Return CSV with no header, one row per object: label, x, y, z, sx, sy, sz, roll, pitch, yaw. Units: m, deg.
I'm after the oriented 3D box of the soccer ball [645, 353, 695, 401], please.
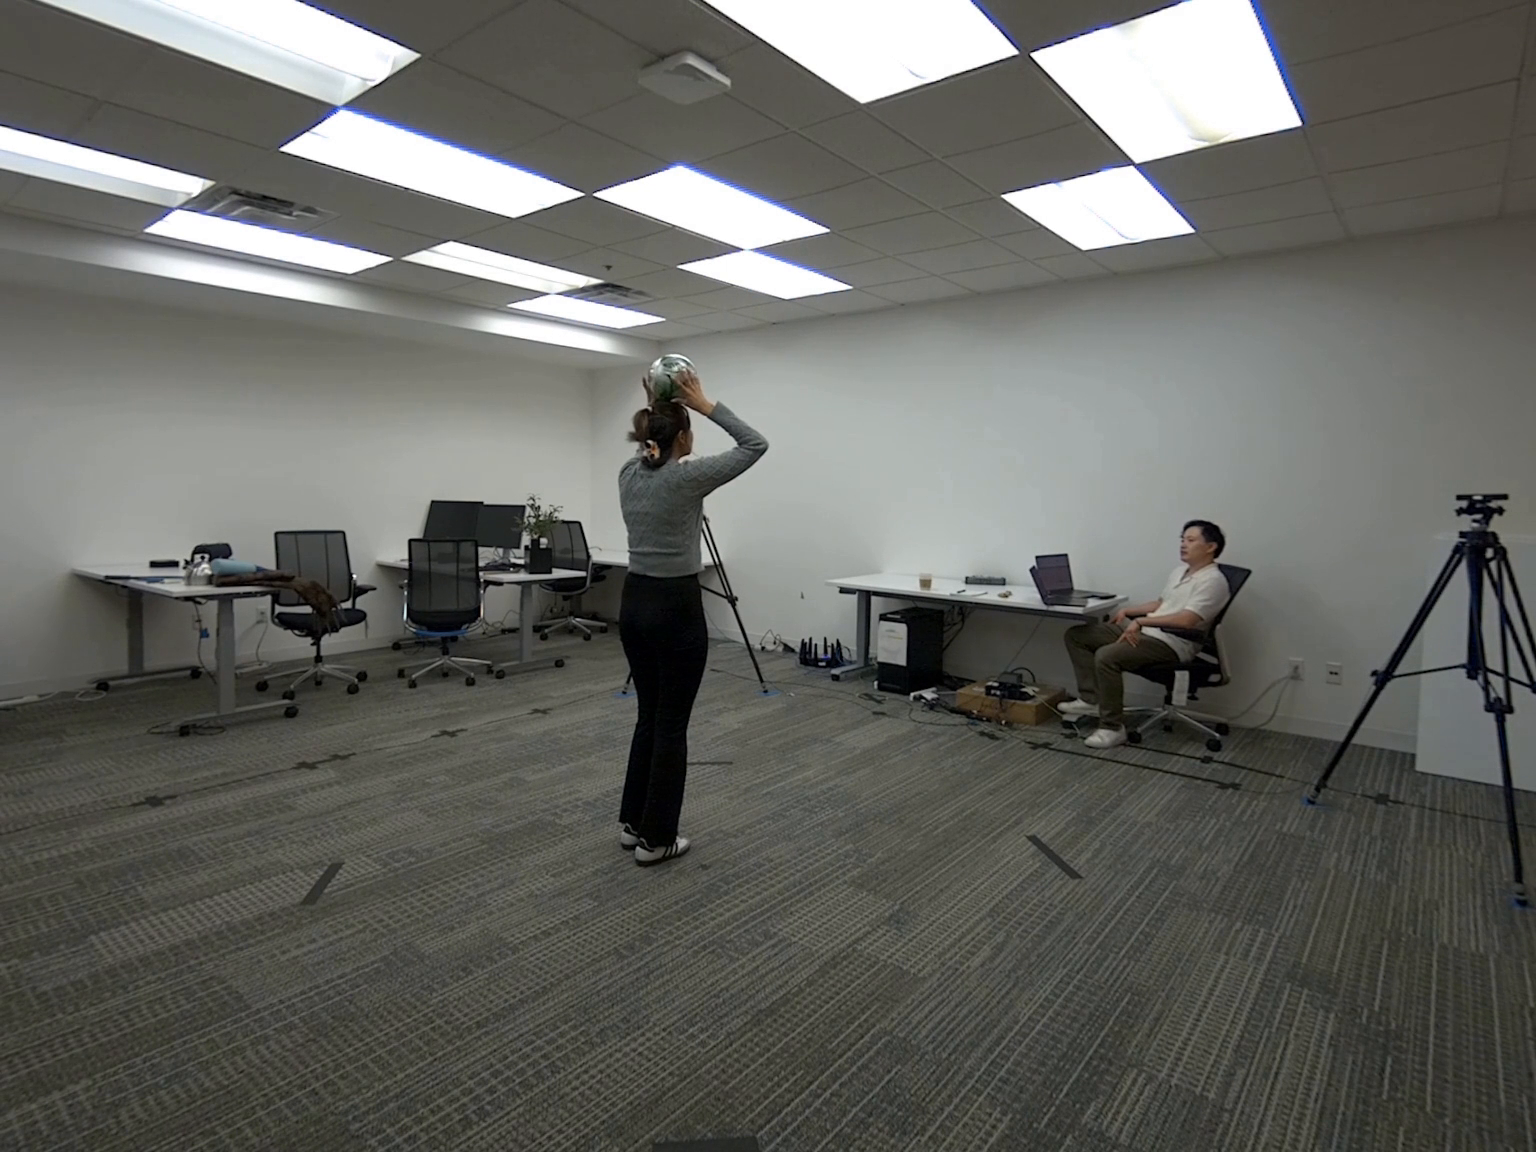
soccer ball,-0.379,-0.750,3.236,0.187,0.187,0.188,1,4,-2
